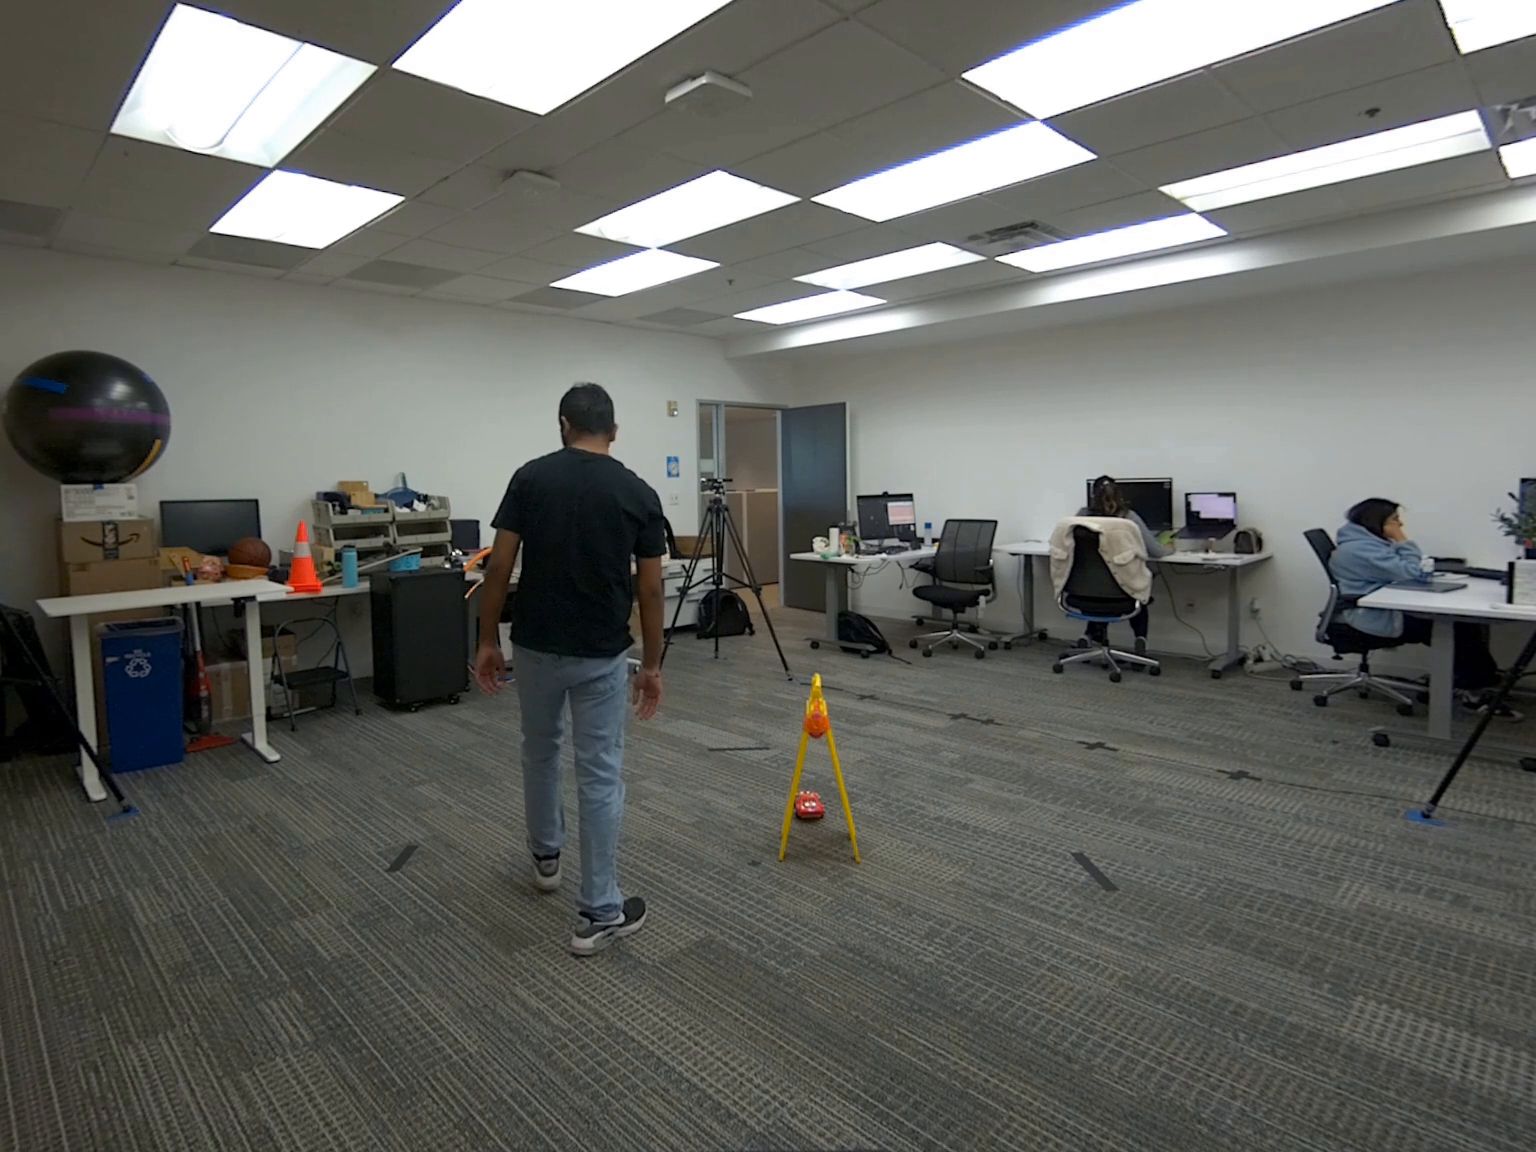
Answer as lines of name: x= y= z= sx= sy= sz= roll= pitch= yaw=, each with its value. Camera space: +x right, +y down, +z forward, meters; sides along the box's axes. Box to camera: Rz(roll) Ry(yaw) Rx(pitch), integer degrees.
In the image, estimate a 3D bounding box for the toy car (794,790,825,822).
toy car: x=0.170 y=0.958 z=3.570 sx=0.130 sy=0.084 sz=0.253 roll=-1 pitch=-5 yaw=-2
